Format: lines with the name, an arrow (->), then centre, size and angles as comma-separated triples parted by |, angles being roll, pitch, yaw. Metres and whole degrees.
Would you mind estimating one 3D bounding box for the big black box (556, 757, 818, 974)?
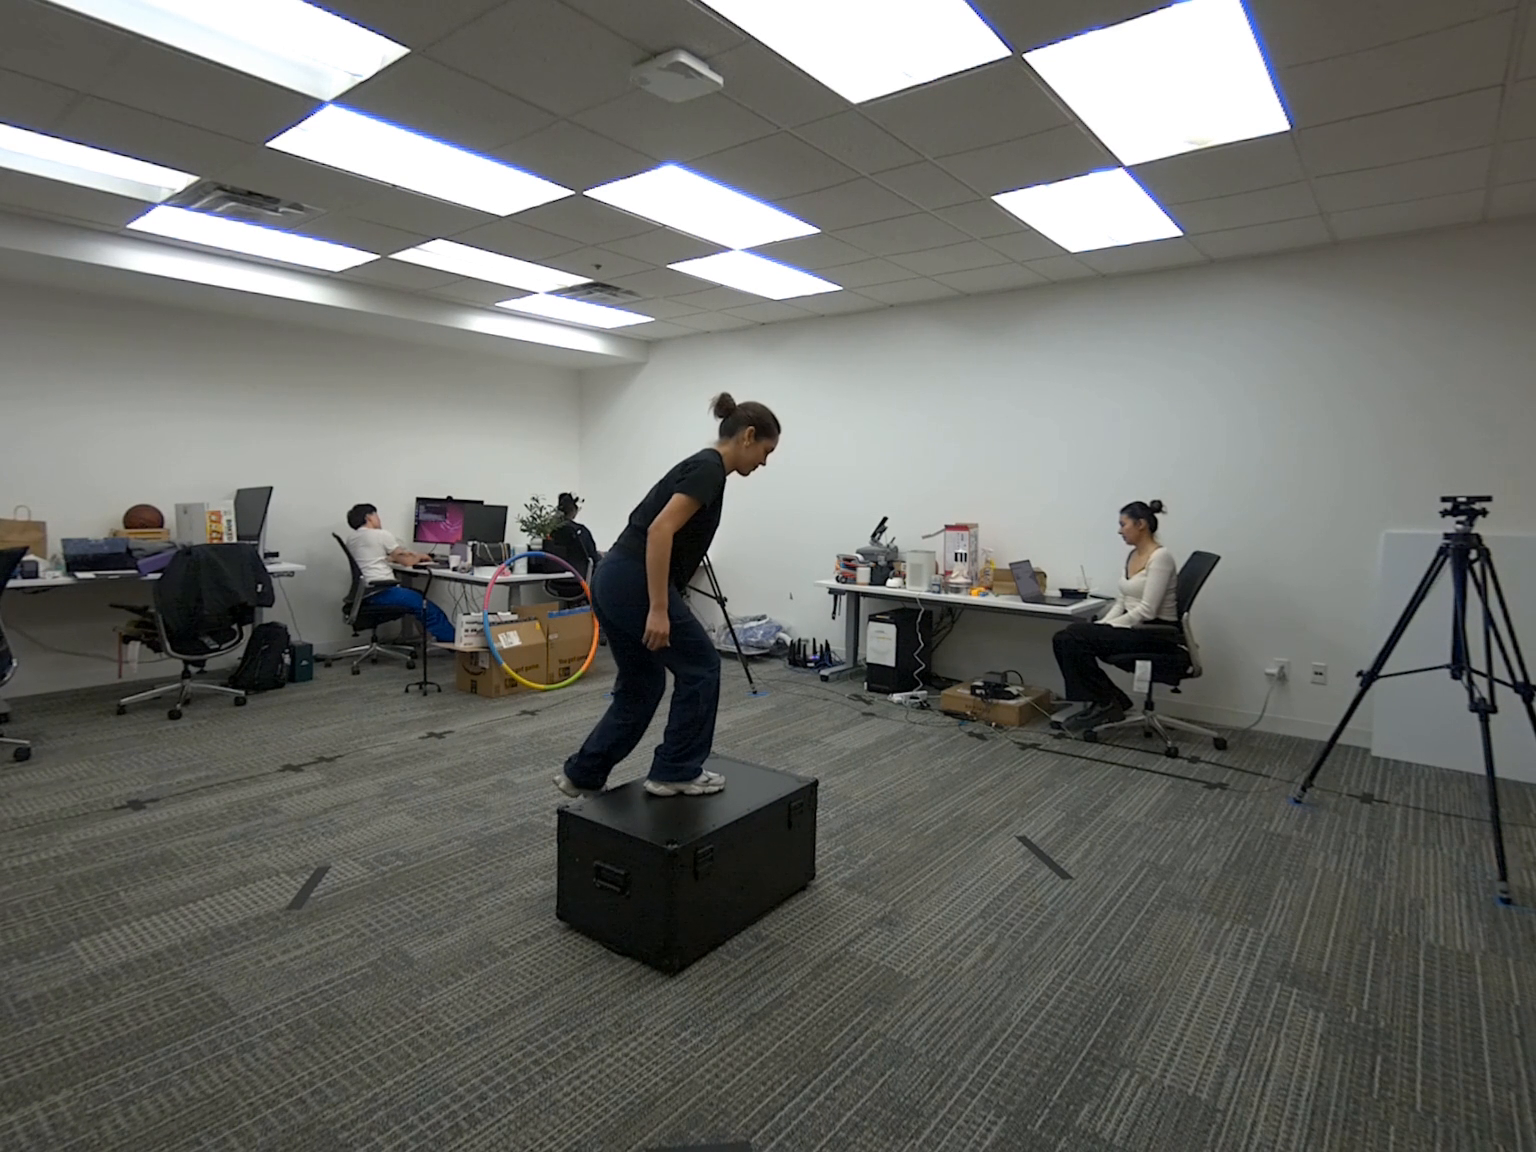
big black box -> -0.214, 0.901, 2.867 | 0.538, 0.394, 0.837 | 4, 7, 36
